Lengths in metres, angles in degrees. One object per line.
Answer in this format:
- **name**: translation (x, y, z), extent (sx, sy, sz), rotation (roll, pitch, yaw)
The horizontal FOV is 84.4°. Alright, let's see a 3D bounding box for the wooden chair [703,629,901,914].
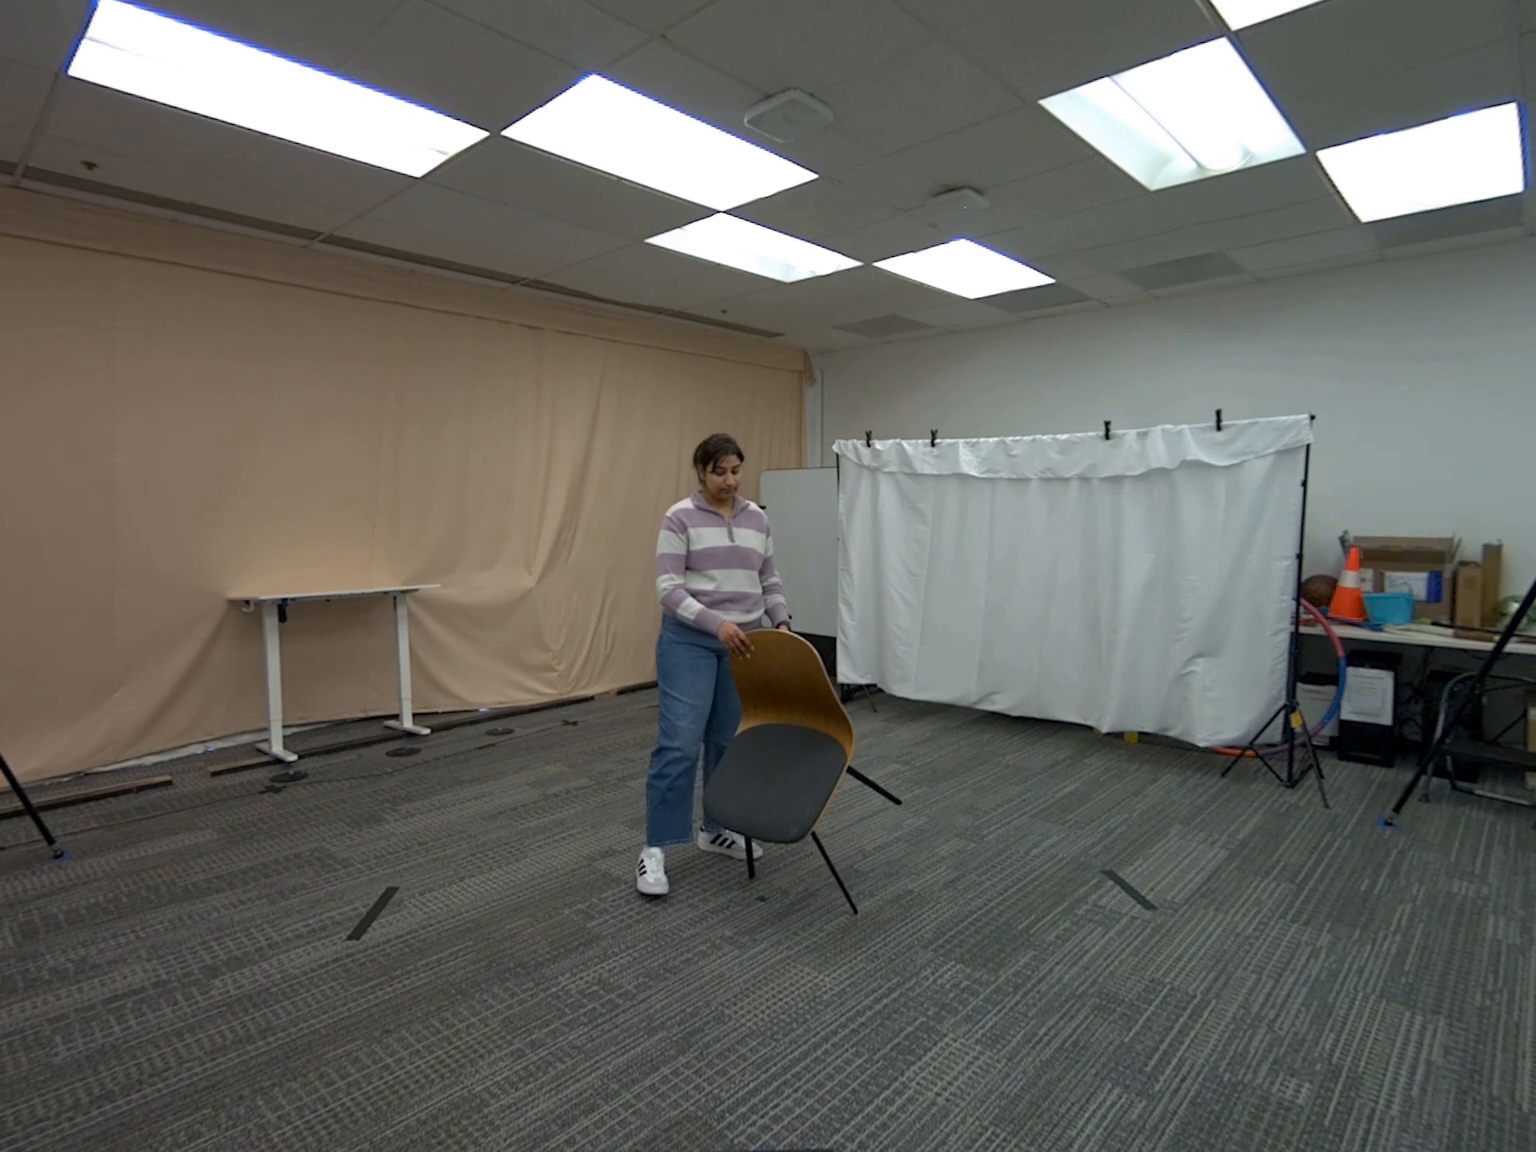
- **wooden chair**: translation (0.063, 0.683, 2.894), extent (0.493, 0.854, 0.520), rotation (3, 40, 36)
